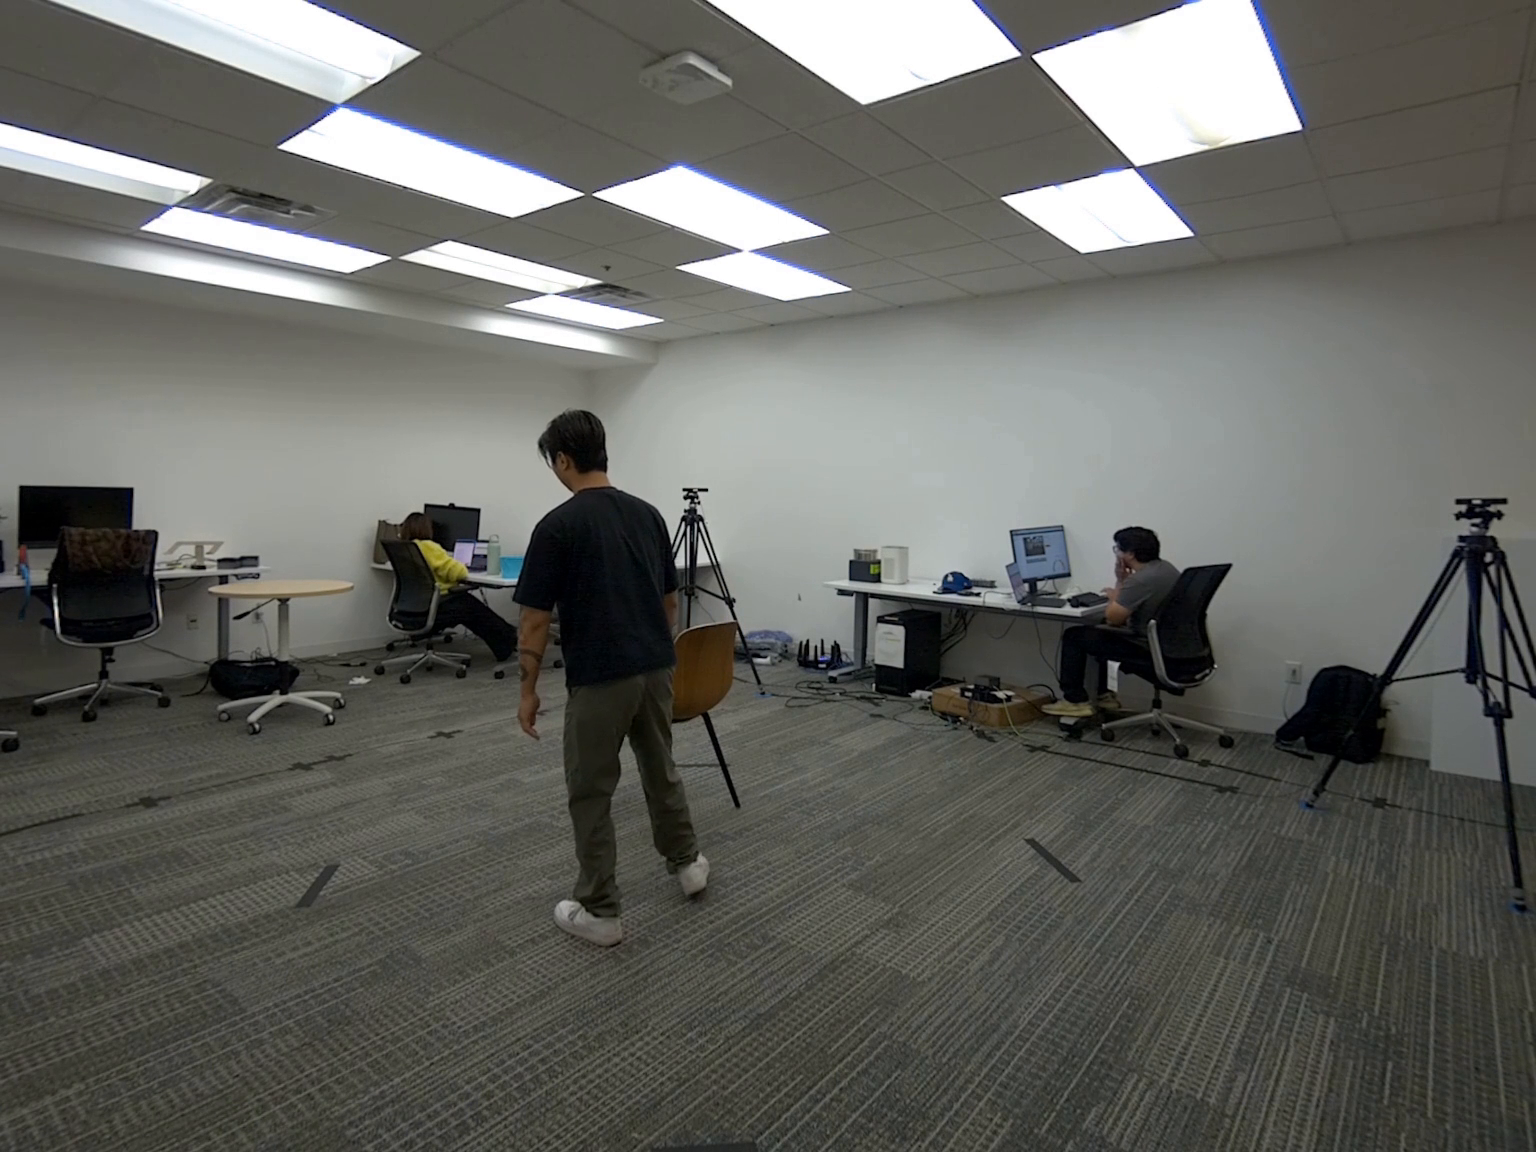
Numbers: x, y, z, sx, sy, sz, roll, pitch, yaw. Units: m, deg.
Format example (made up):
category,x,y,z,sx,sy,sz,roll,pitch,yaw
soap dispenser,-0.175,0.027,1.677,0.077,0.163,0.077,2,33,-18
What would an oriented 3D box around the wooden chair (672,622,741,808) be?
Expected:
category,x,y,z,sx,sy,sz,roll,pitch,yaw
wooden chair,-0.443,0.585,3.675,0.541,0.873,0.464,9,7,36
